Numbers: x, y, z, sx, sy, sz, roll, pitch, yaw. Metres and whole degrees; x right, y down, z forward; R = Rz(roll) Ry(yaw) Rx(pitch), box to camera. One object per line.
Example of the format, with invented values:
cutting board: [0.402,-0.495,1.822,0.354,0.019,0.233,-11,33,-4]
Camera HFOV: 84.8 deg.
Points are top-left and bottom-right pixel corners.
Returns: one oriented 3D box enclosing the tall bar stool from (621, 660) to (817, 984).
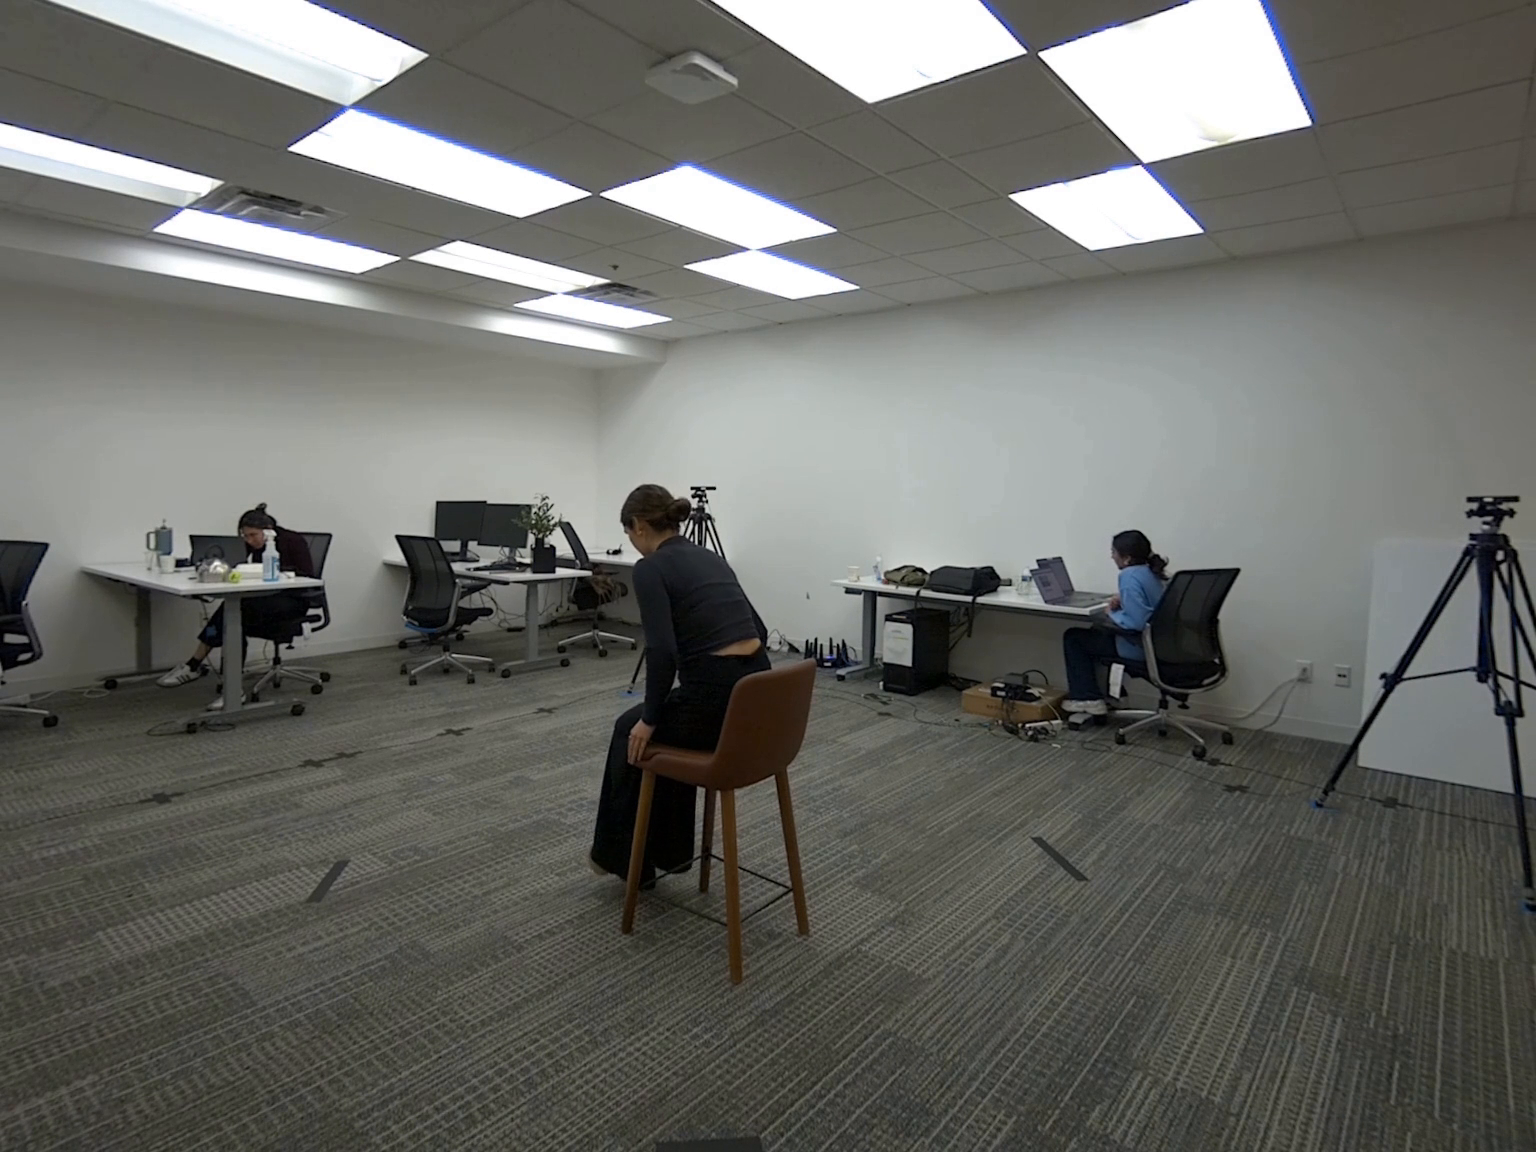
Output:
tall bar stool: [-0.149,0.681,2.623,0.483,0.886,0.443,6,6,37]
